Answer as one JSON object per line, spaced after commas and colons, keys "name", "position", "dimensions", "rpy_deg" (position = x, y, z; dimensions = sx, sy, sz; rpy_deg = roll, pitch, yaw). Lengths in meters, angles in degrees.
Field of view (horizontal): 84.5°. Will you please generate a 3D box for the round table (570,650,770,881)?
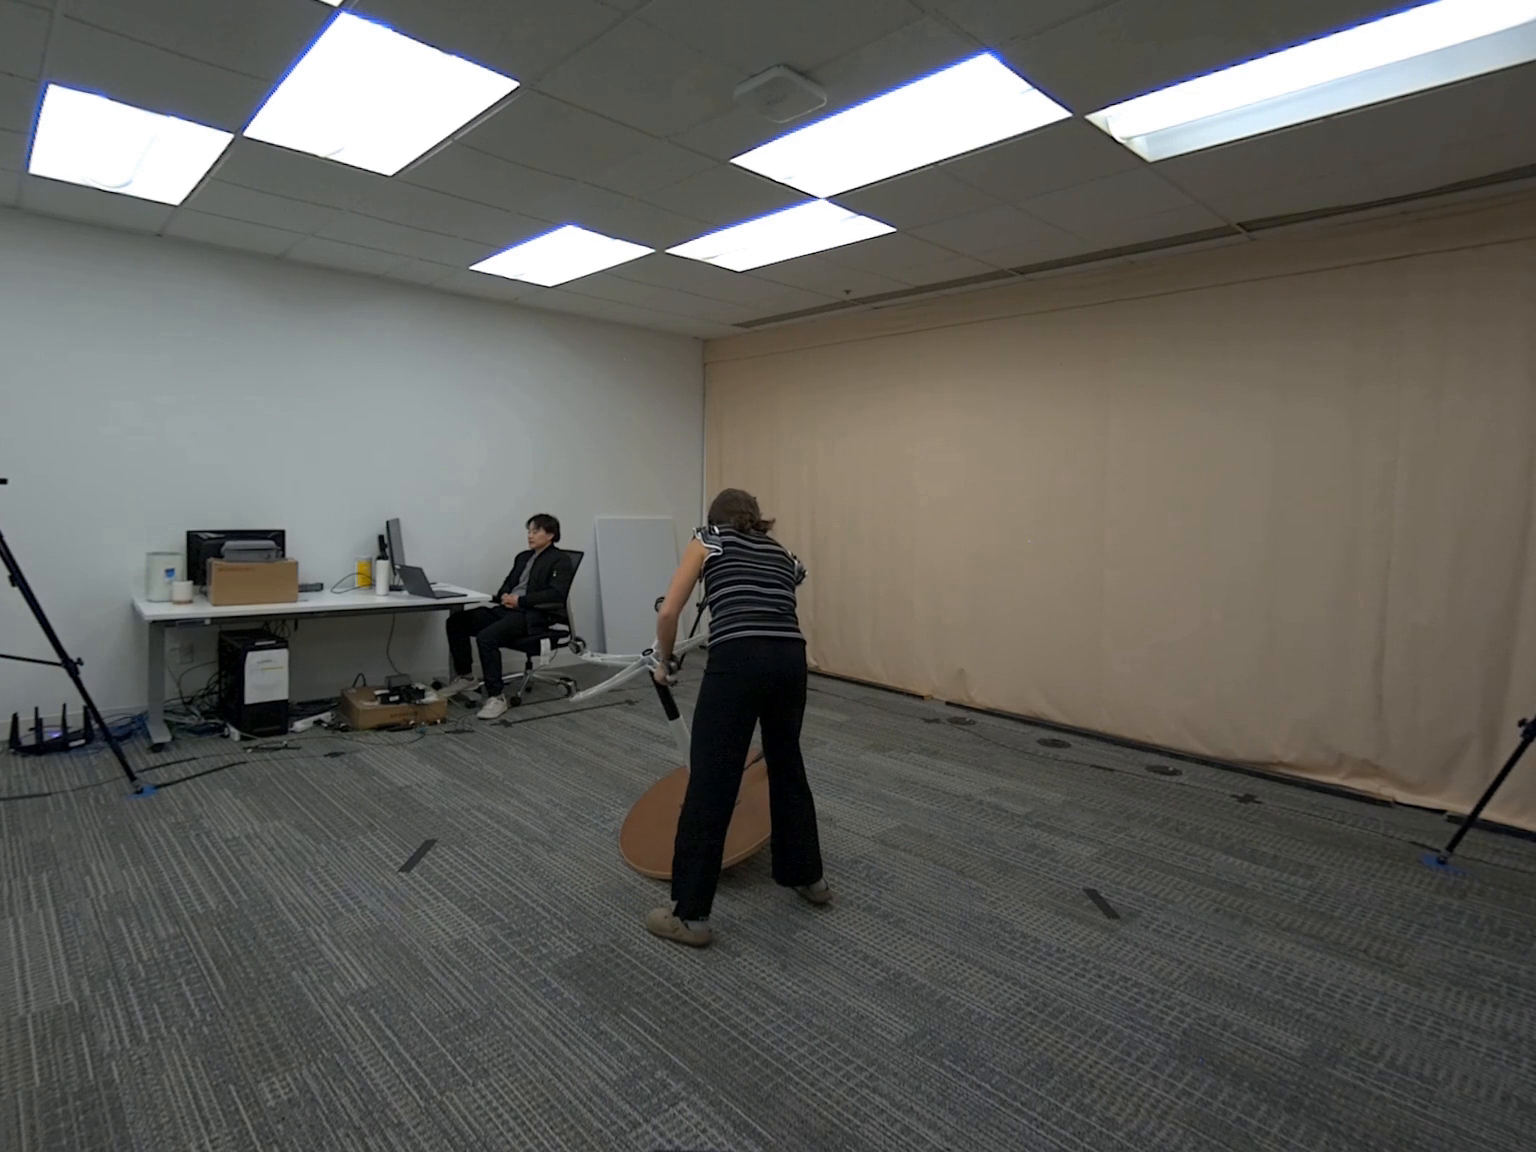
{"name": "round table", "position": [-0.357, 0.577, 3.234], "dimensions": [0.766, 0.782, 0.774], "rpy_deg": [-17, 17, 4]}
